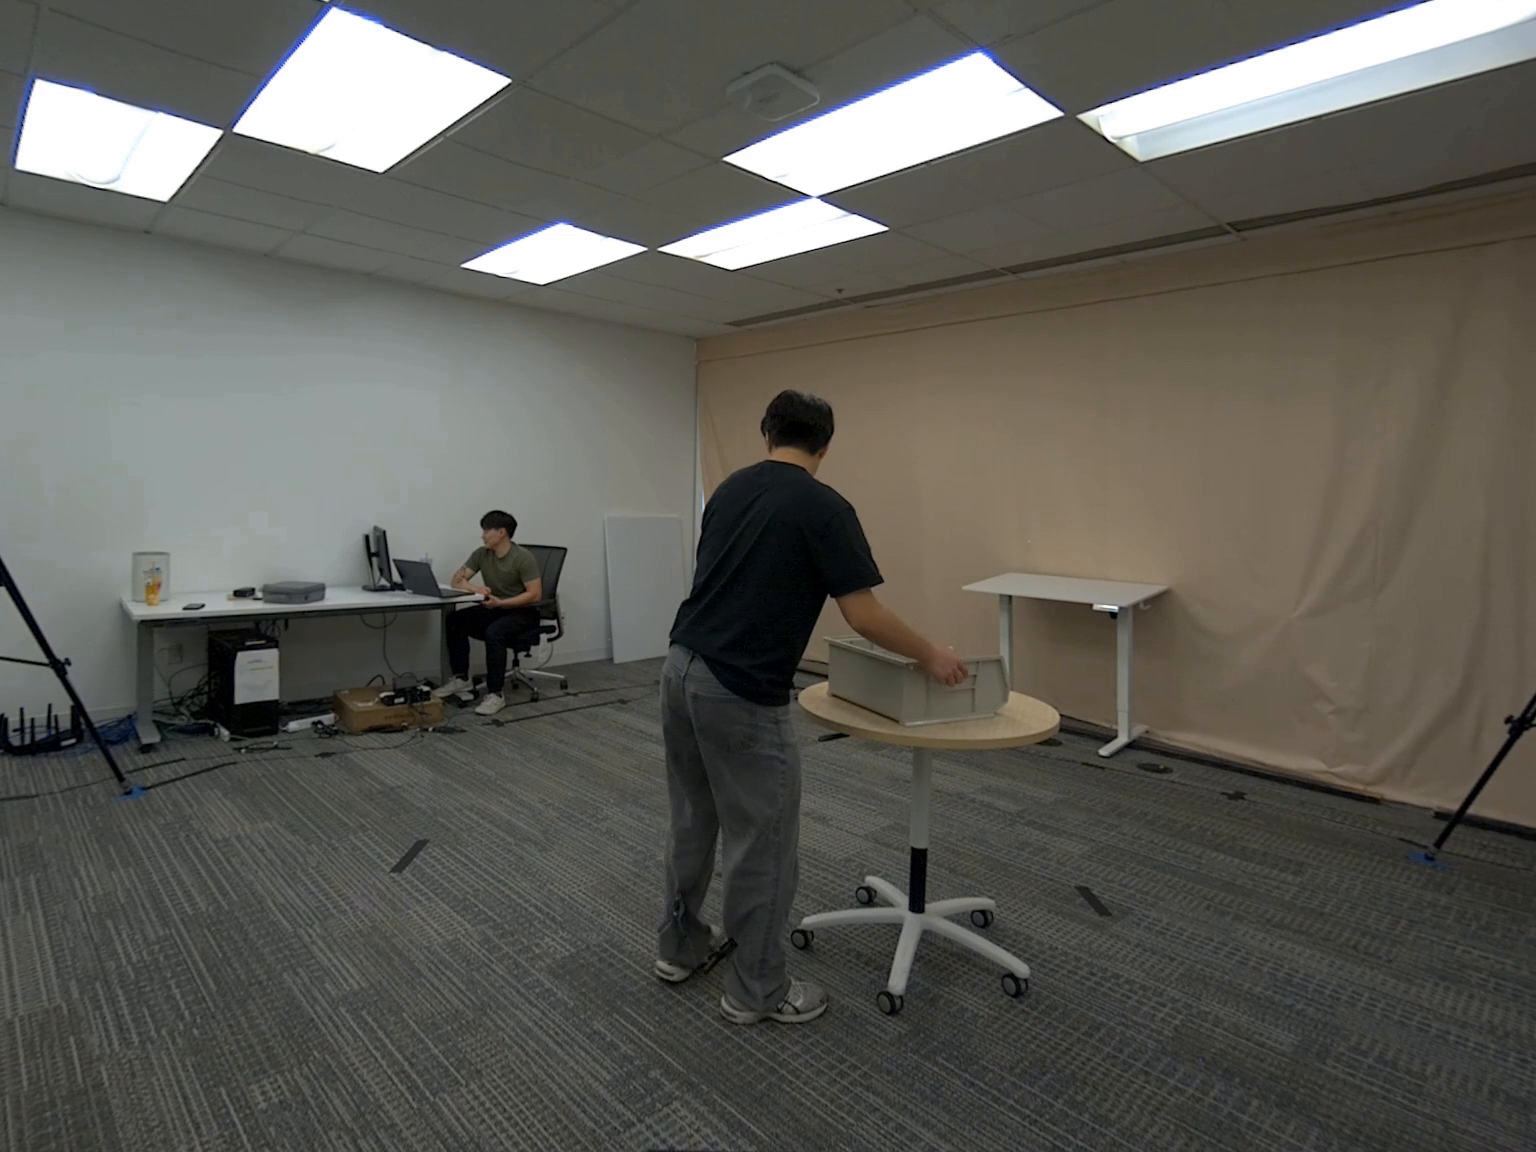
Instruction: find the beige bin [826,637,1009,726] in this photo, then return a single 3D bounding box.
[{"bbox_3d":[0.428,0.299,2.524,0.370,0.188,0.431,-2,6,-26],"label":"beige bin"}]
